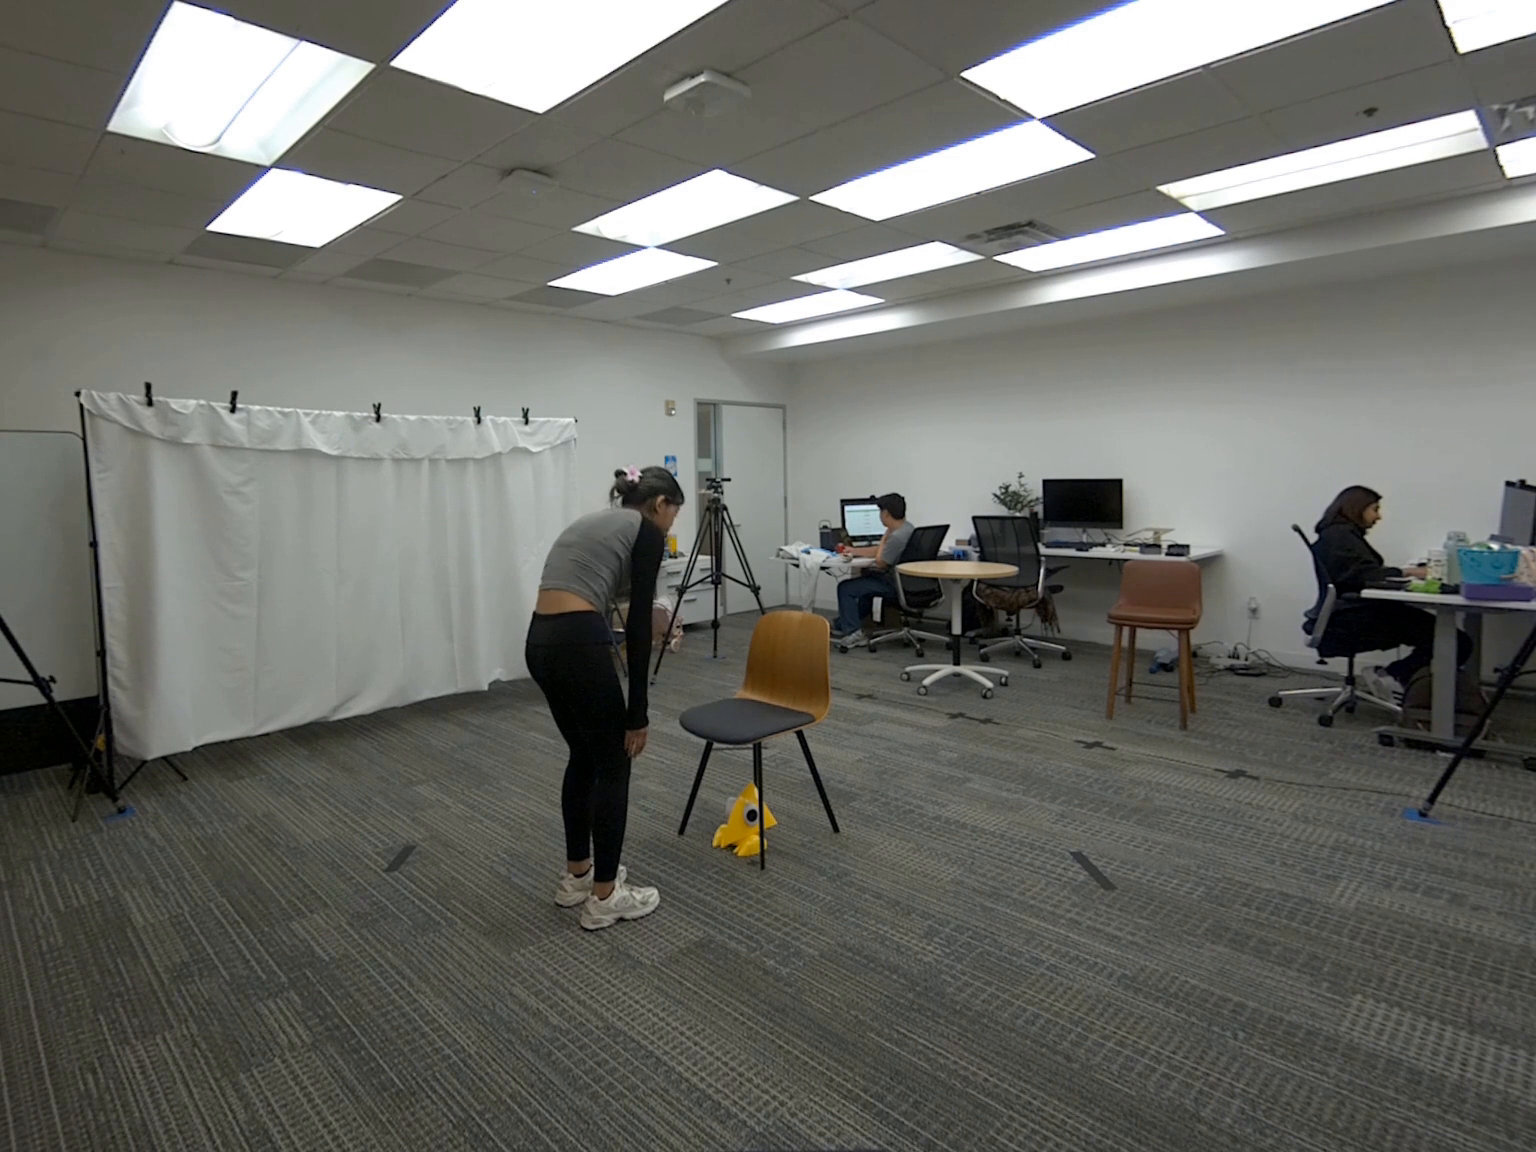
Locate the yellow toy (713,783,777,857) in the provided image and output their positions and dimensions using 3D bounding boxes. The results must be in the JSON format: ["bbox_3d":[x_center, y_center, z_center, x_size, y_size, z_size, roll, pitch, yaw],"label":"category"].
[{"bbox_3d":[-0.097,0.916,3.260,0.211,0.230,0.188,5,6,42],"label":"yellow toy"}]
